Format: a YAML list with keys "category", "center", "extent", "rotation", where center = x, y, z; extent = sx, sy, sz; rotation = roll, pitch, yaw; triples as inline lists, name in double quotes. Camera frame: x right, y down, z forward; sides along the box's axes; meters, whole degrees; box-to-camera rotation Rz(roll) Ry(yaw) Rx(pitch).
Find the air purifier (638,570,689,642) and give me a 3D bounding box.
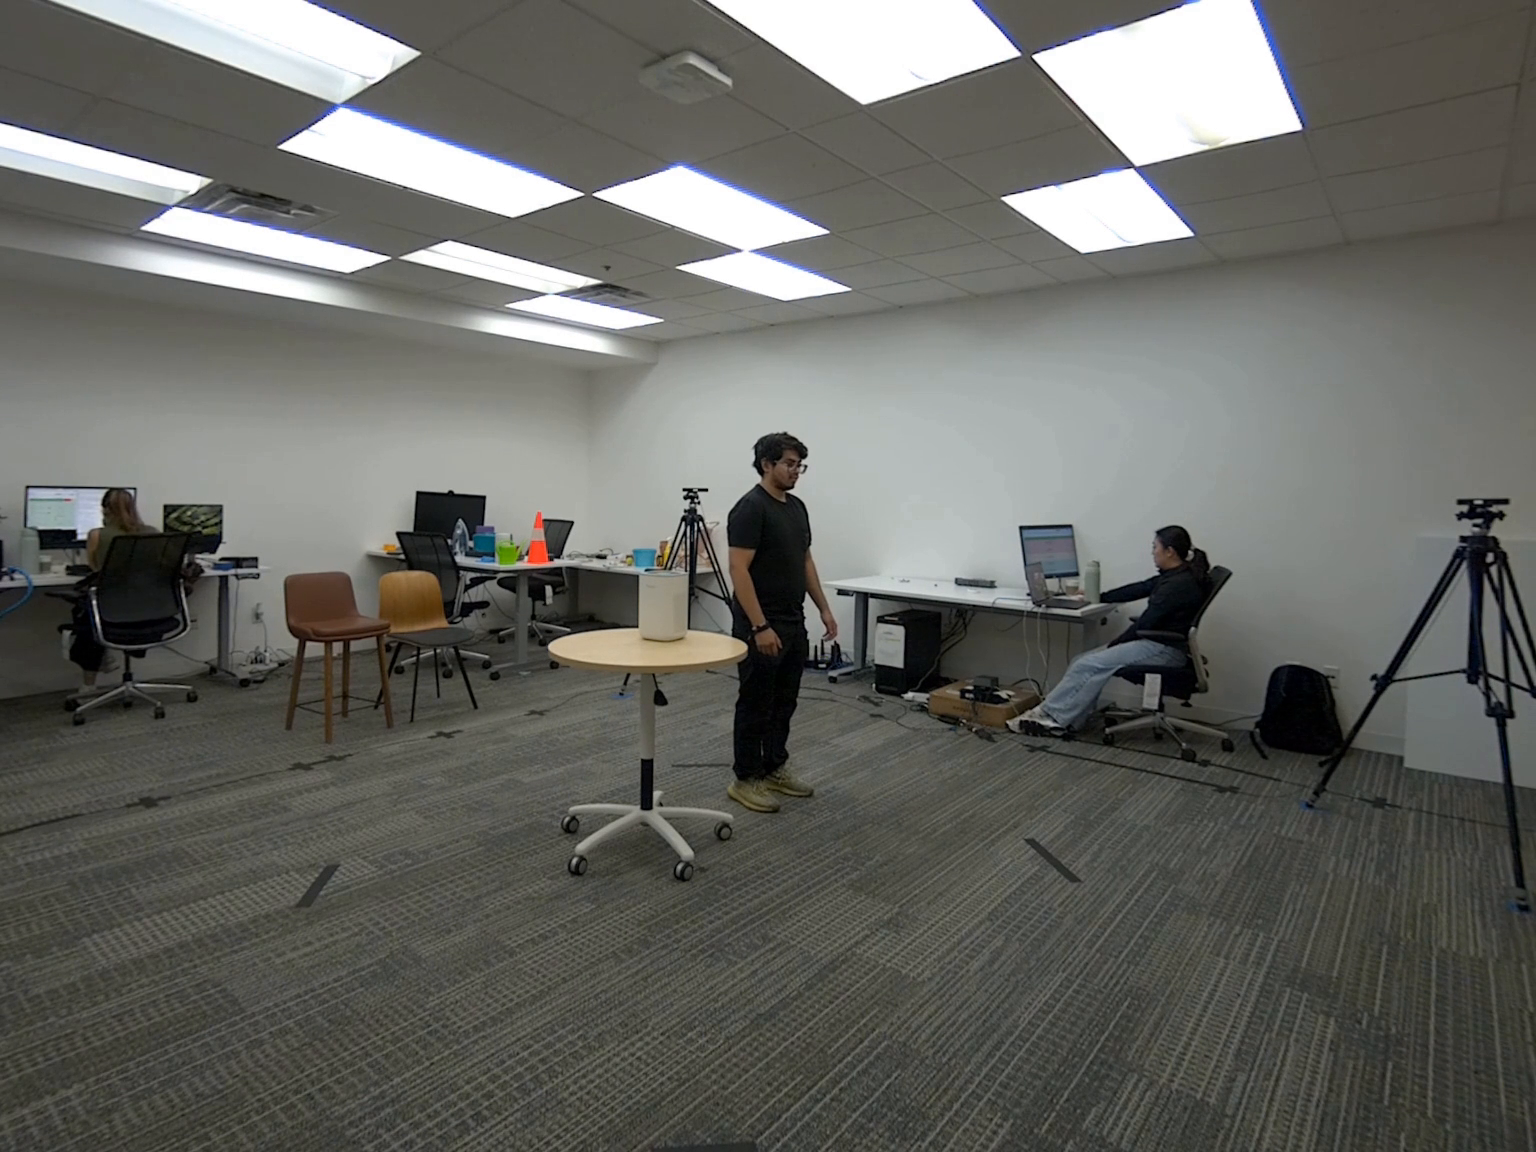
- category: "air purifier"
  center: [-0.436, 0.117, 3.436]
  extent: [0.176, 0.264, 0.167]
  rotation: [4, 5, 27]
